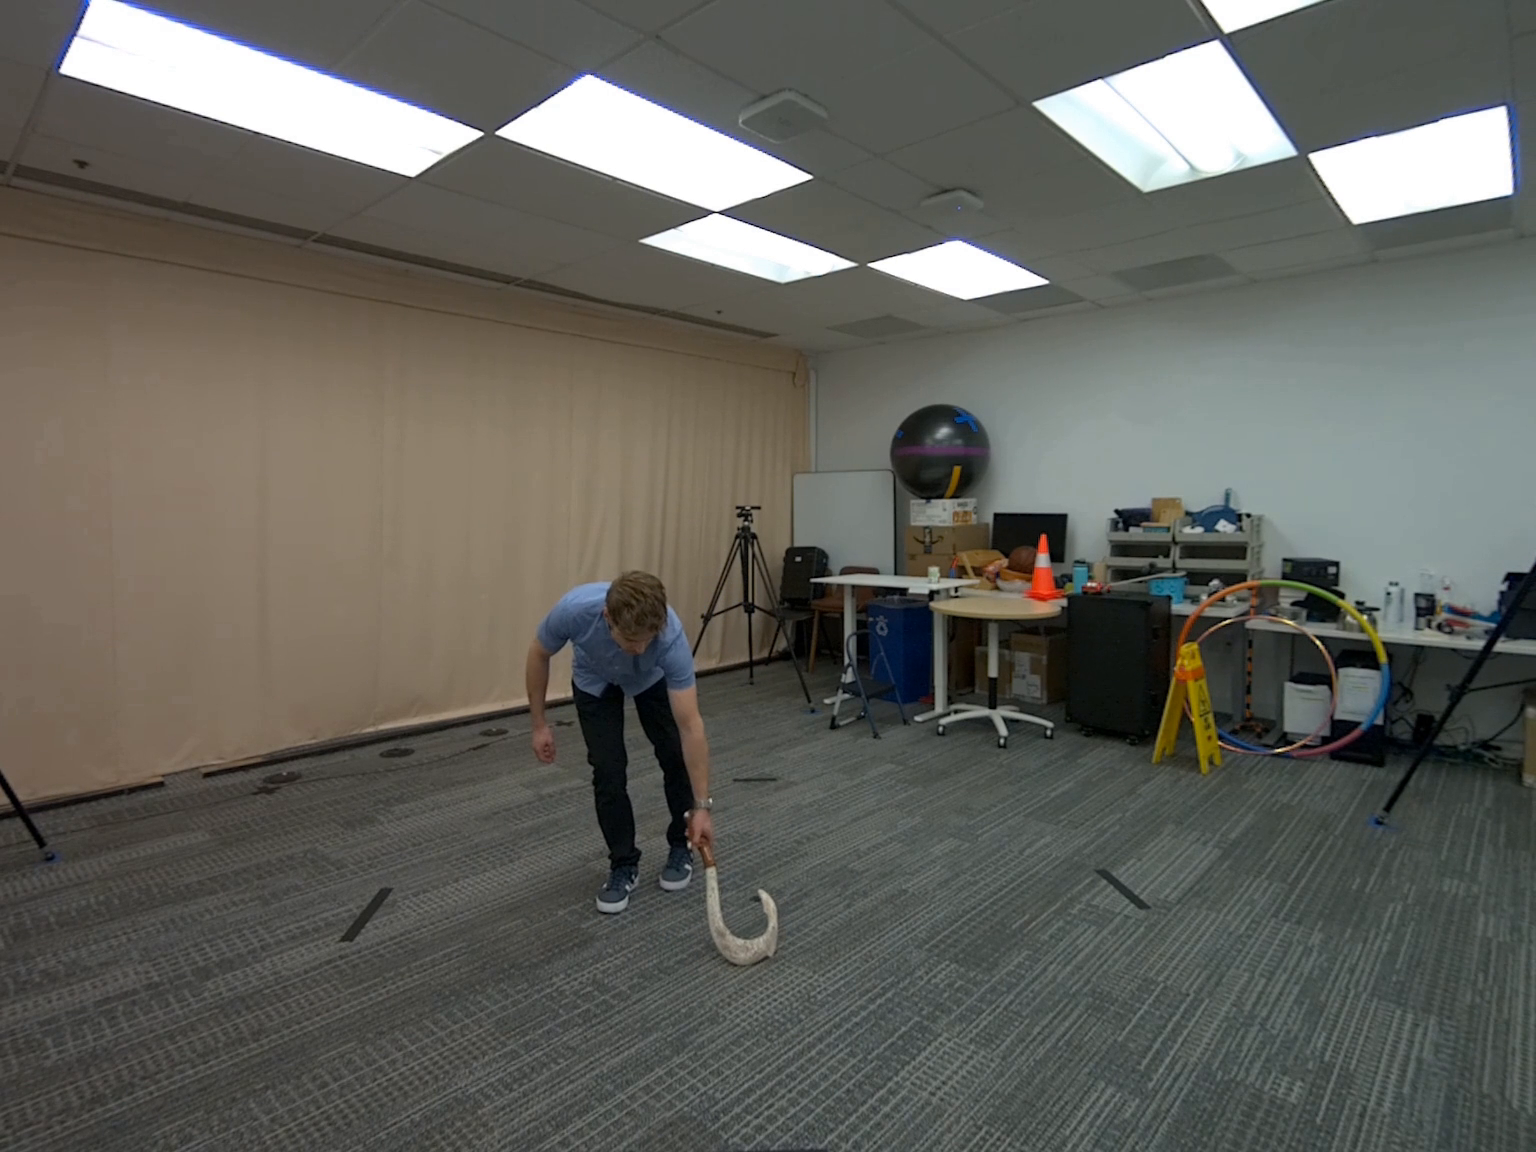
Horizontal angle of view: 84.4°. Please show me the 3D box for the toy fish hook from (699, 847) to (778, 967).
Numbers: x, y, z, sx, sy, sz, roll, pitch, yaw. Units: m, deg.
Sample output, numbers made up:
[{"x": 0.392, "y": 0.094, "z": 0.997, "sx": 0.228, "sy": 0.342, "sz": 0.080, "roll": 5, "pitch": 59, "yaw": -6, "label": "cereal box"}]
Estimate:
[{"x": -0.114, "y": 0.980, "z": 2.700, "sx": 0.220, "sy": 0.521, "sz": 0.048, "roll": -9, "pitch": -36, "yaw": -24, "label": "toy fish hook"}]
